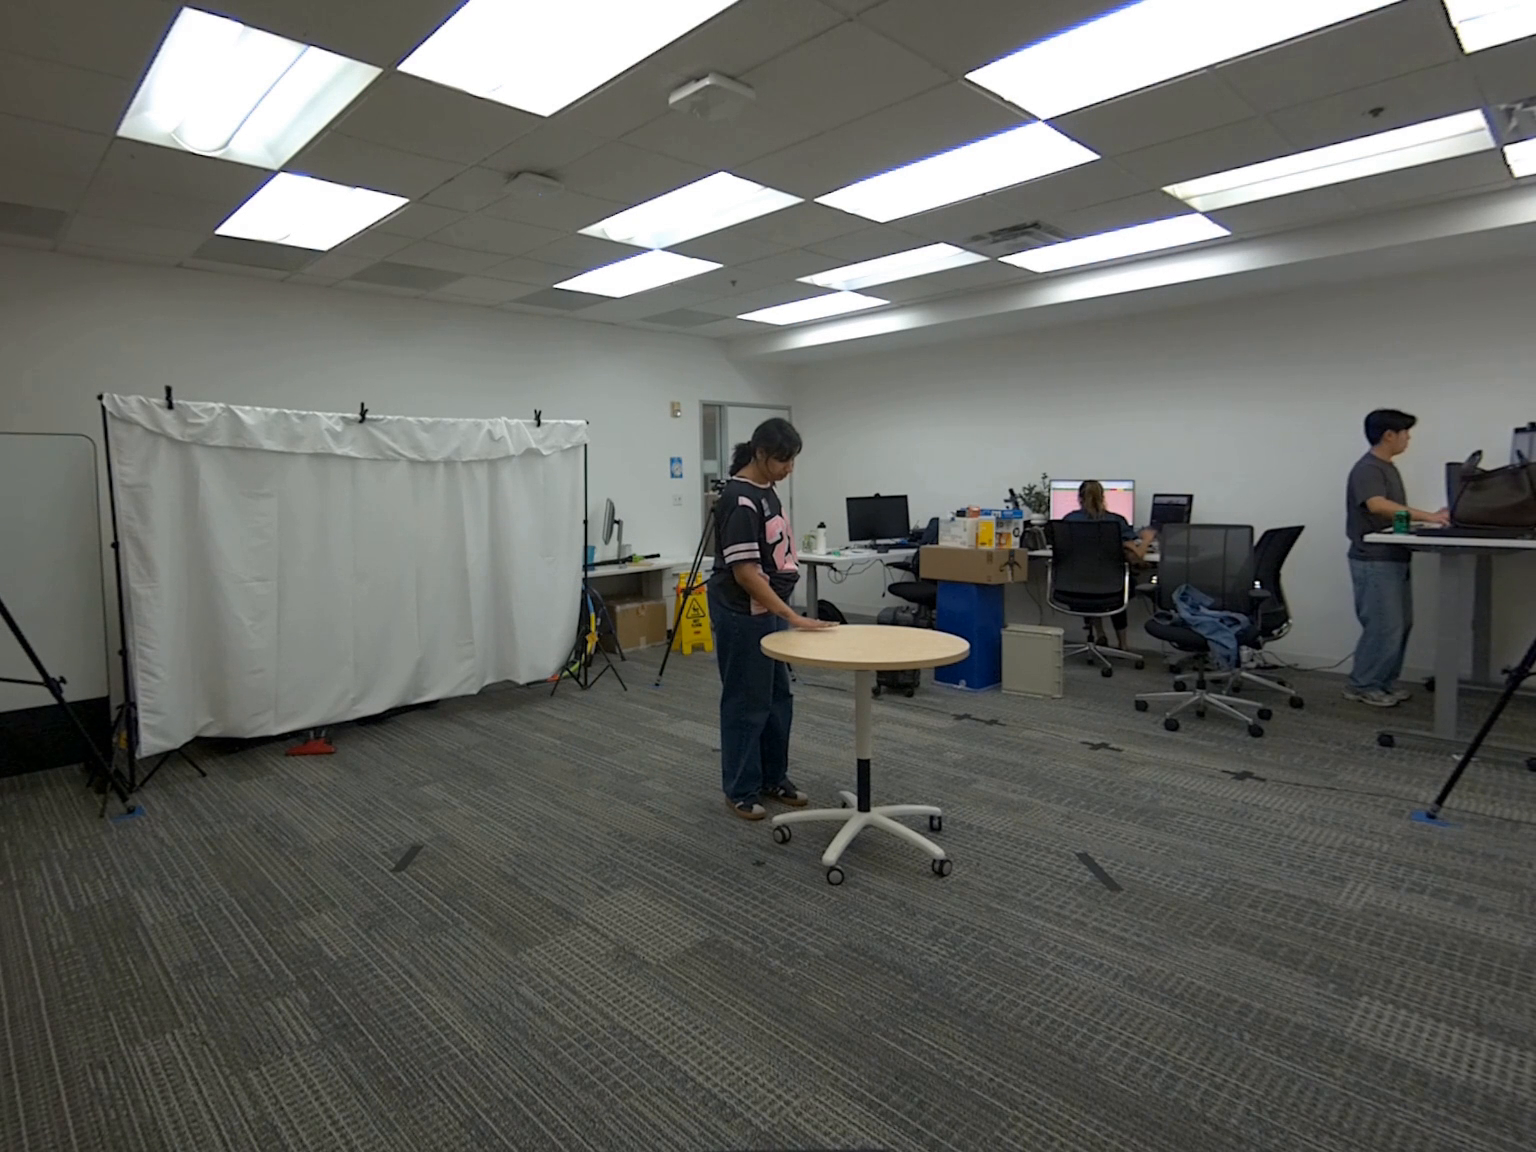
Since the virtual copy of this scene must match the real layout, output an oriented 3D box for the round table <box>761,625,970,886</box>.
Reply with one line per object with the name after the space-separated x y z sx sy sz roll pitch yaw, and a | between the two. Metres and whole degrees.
0.366 0.632 3.226 0.784 0.783 0.789 -1 5 -2 | round table
